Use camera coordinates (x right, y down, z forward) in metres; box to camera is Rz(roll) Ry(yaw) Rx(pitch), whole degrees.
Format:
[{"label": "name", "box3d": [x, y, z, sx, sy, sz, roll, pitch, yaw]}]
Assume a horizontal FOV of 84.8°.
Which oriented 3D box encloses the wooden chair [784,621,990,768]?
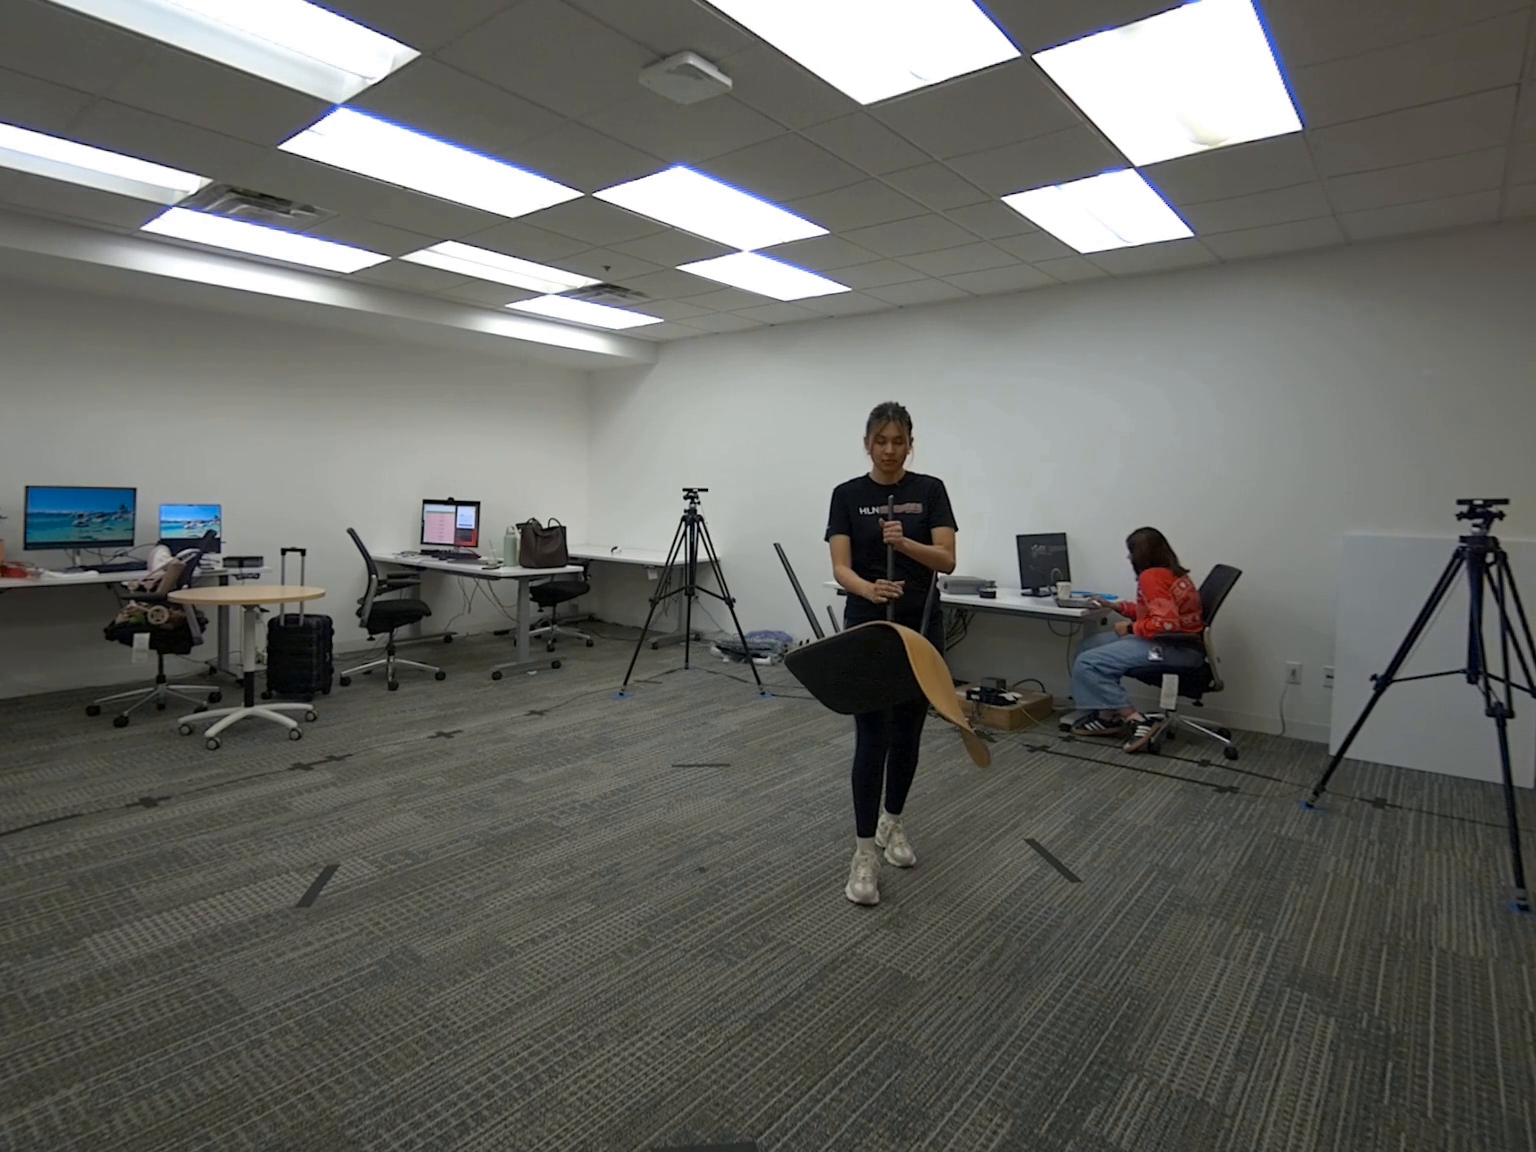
[{"label": "wooden chair", "box3d": [0.338, 0.261, 2.808, 0.528, 0.906, 0.458, -25, -44, 18]}]
